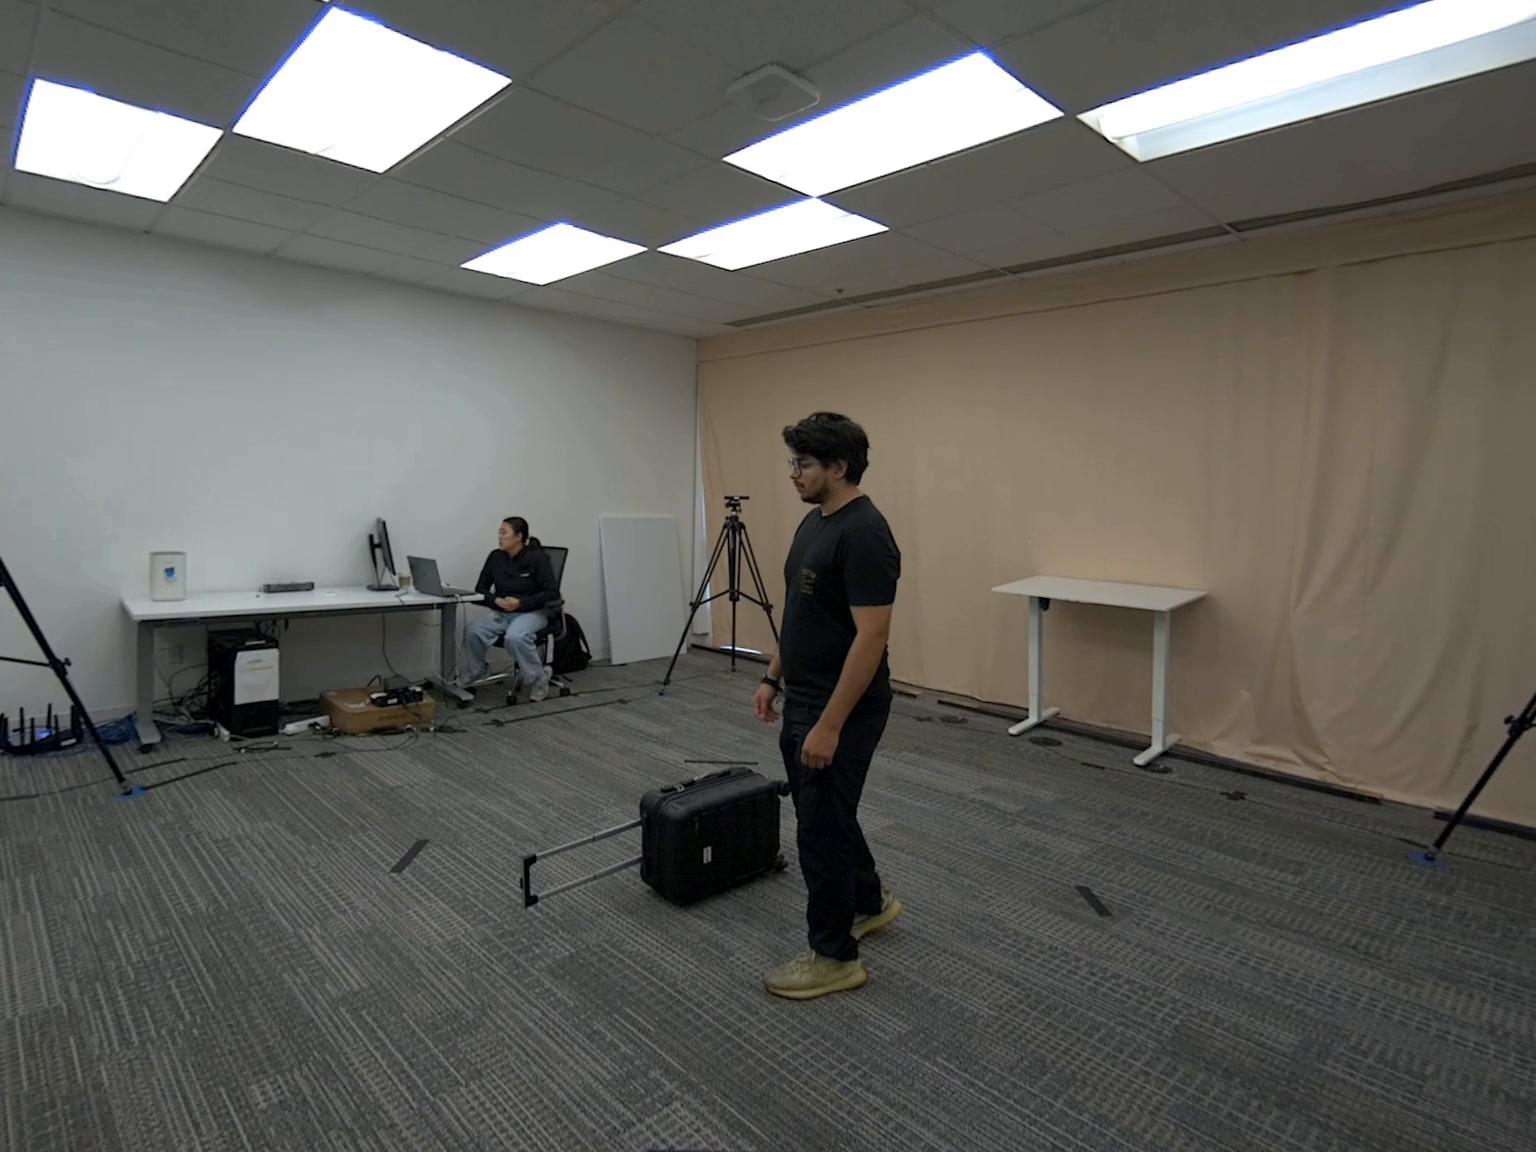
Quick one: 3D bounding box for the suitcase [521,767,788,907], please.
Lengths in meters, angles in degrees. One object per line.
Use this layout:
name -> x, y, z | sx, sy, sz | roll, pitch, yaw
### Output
suitcase -> -0.347, 0.930, 2.893 | 0.957, 0.383, 0.263 | -4, 6, -44
